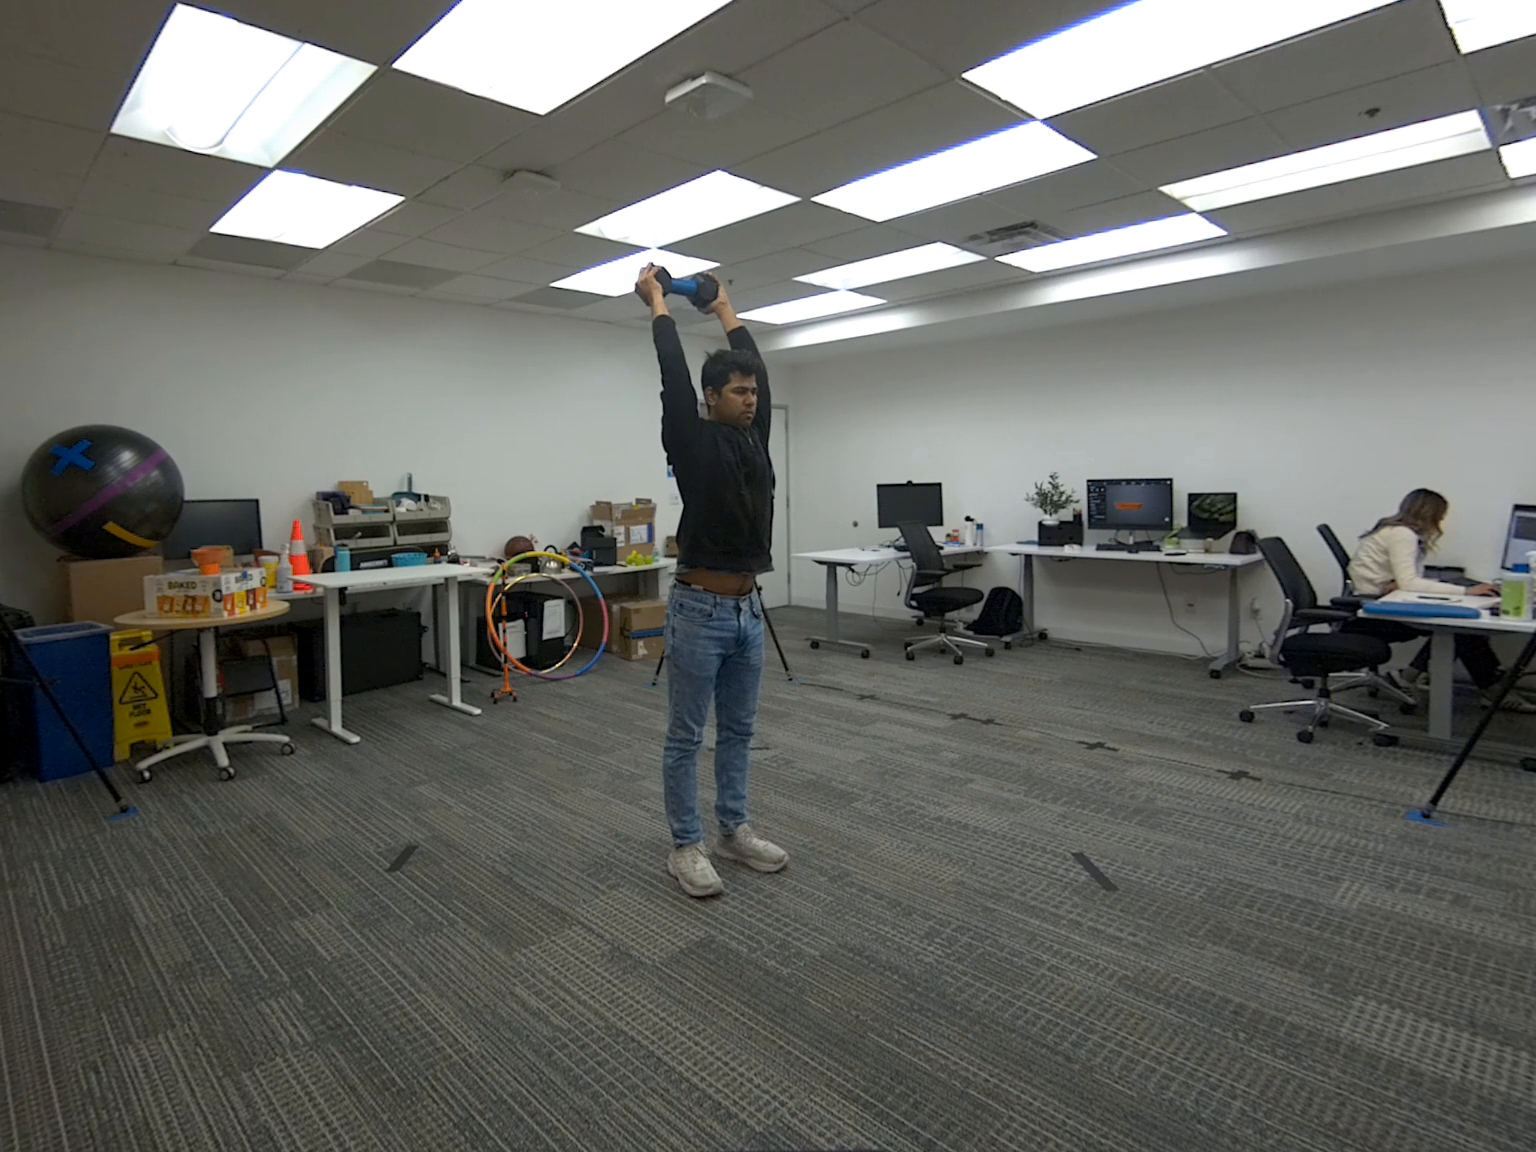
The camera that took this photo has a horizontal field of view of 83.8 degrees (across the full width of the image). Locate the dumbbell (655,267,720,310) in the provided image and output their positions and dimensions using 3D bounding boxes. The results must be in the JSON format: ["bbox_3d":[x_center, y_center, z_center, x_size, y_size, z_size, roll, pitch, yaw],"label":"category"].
[{"bbox_3d":[-0.316,-1.063,3.109,0.285,0.110,0.124,-3,-15,-40],"label":"dumbbell"}]
